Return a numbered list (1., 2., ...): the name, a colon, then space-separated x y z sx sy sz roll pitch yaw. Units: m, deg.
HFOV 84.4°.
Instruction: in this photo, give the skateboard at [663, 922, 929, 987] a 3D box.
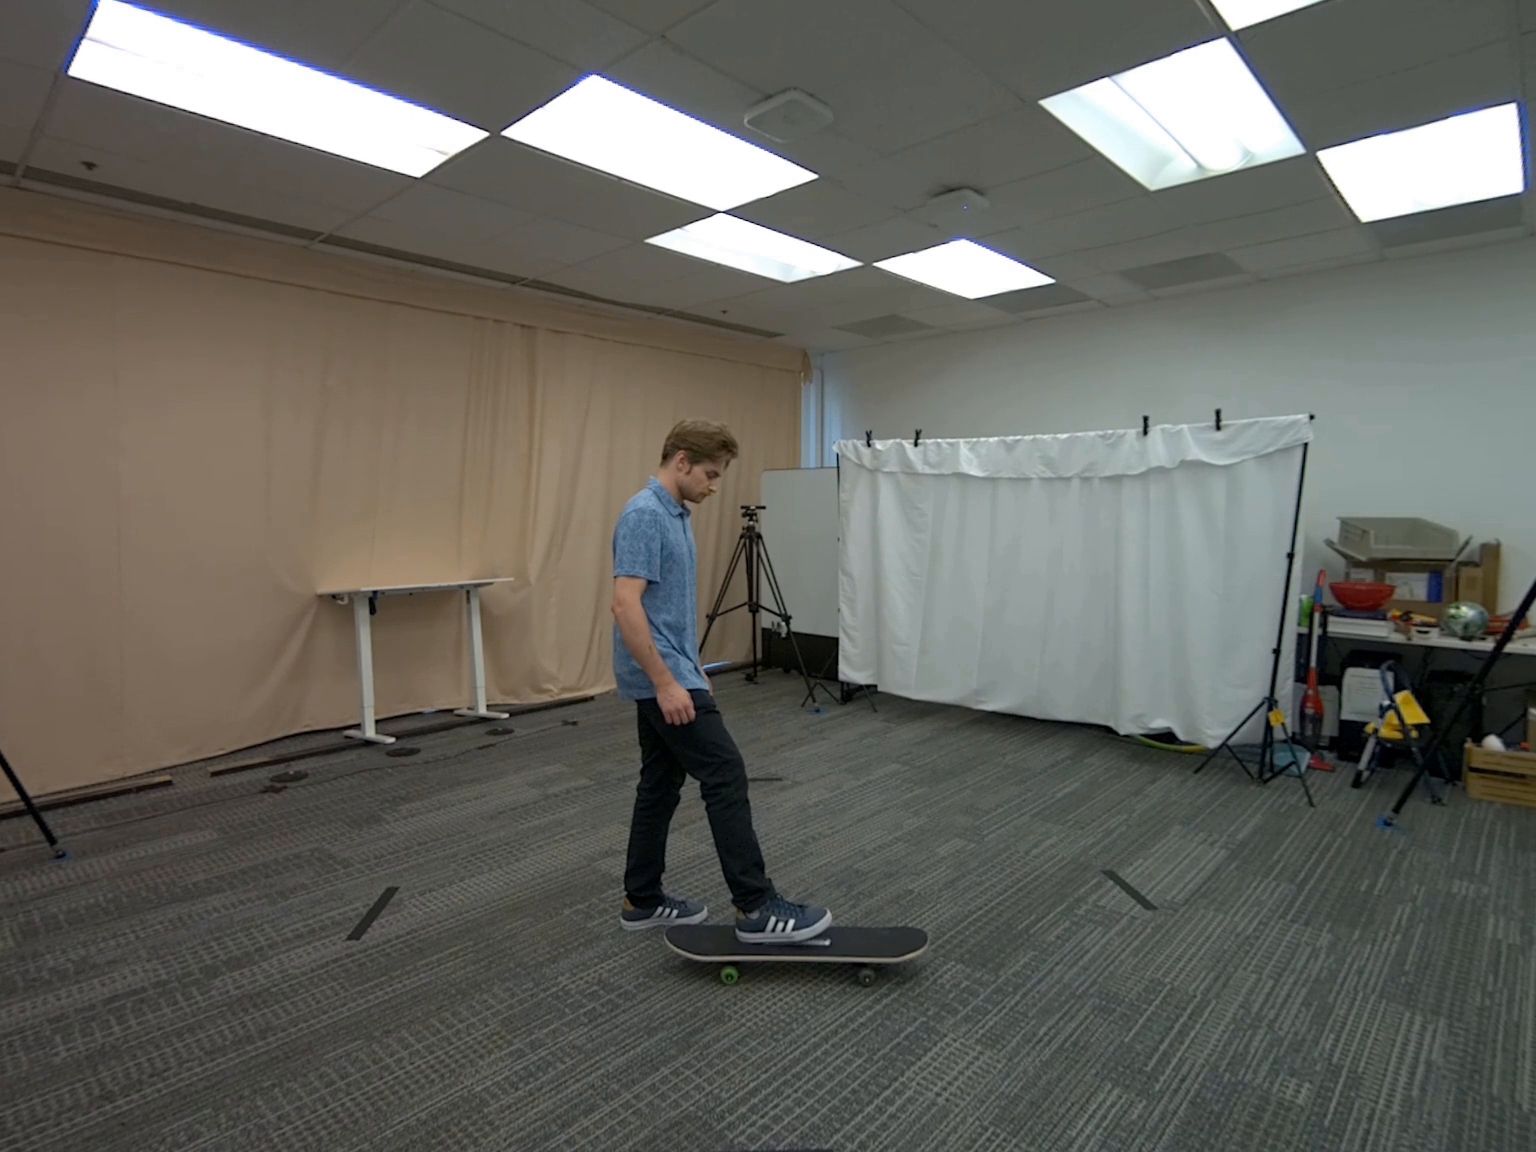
1. skateboard: 0.087 1.123 2.525 0.787 0.110 0.193 -1 3 1
